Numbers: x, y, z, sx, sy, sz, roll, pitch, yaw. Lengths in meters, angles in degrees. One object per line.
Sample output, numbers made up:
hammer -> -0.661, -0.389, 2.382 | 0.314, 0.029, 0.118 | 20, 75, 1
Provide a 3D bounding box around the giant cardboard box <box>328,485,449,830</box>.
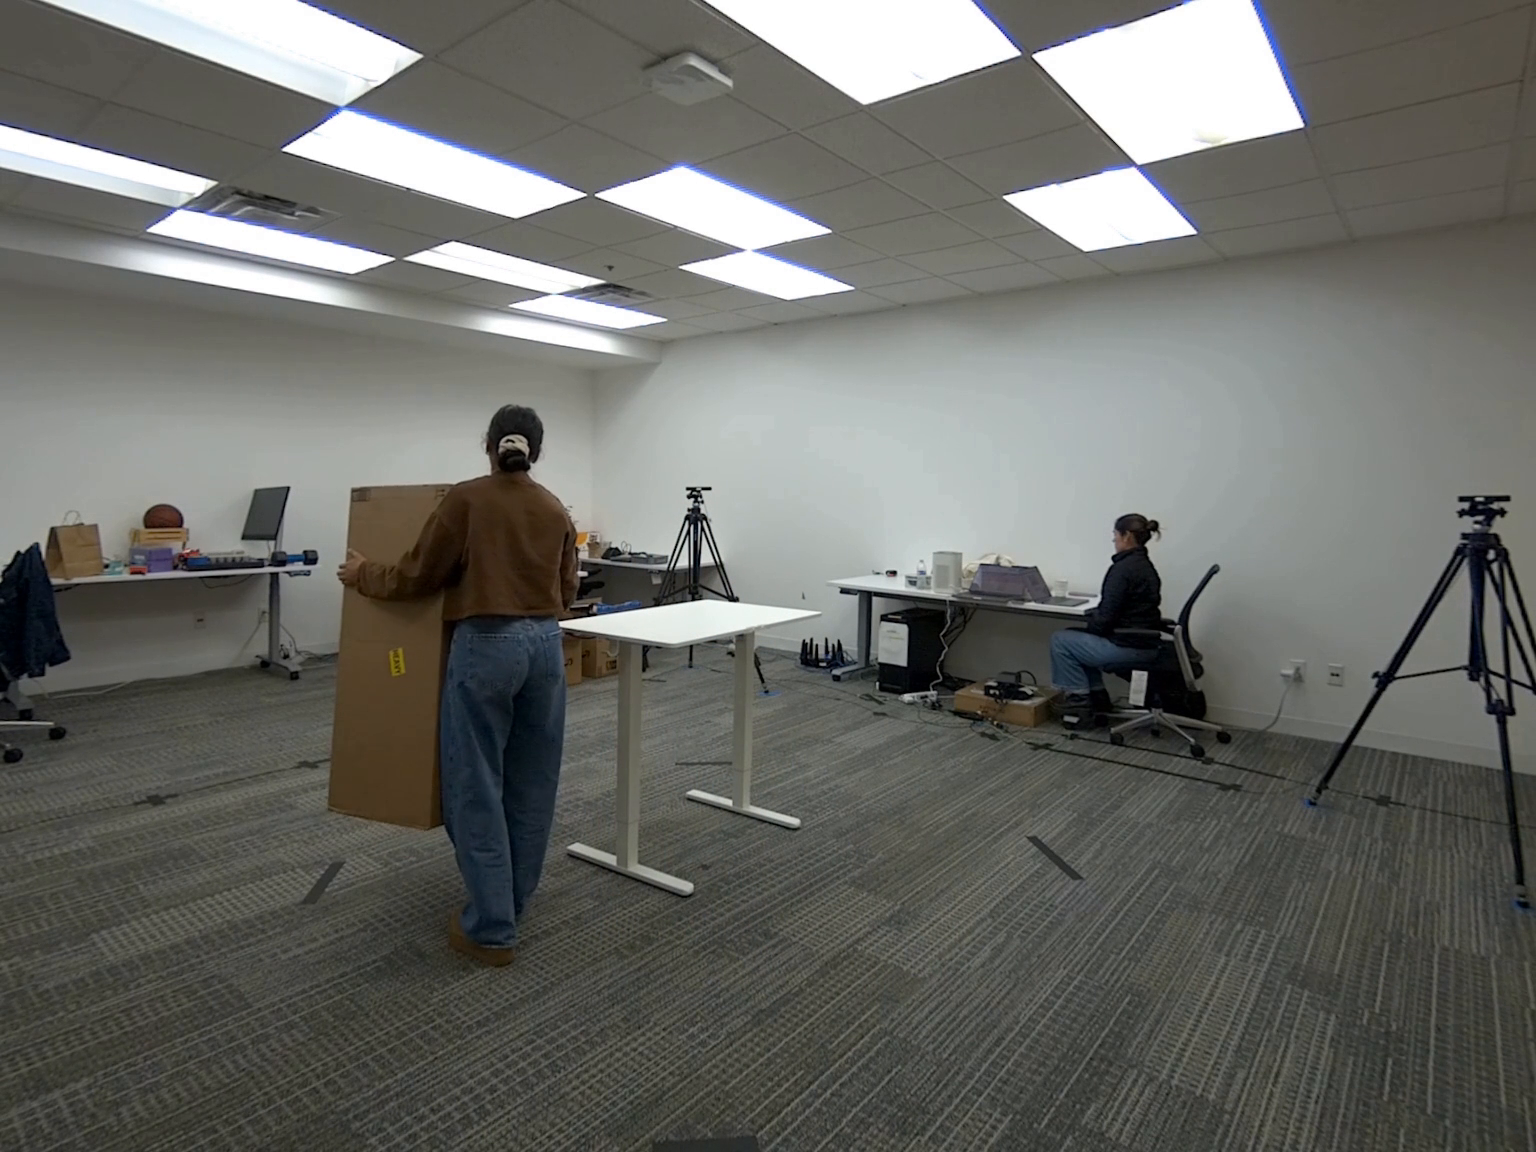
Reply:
giant cardboard box -> -1.079, 0.232, 2.867 | 0.436, 1.029, 0.562 | 0, -3, 23
